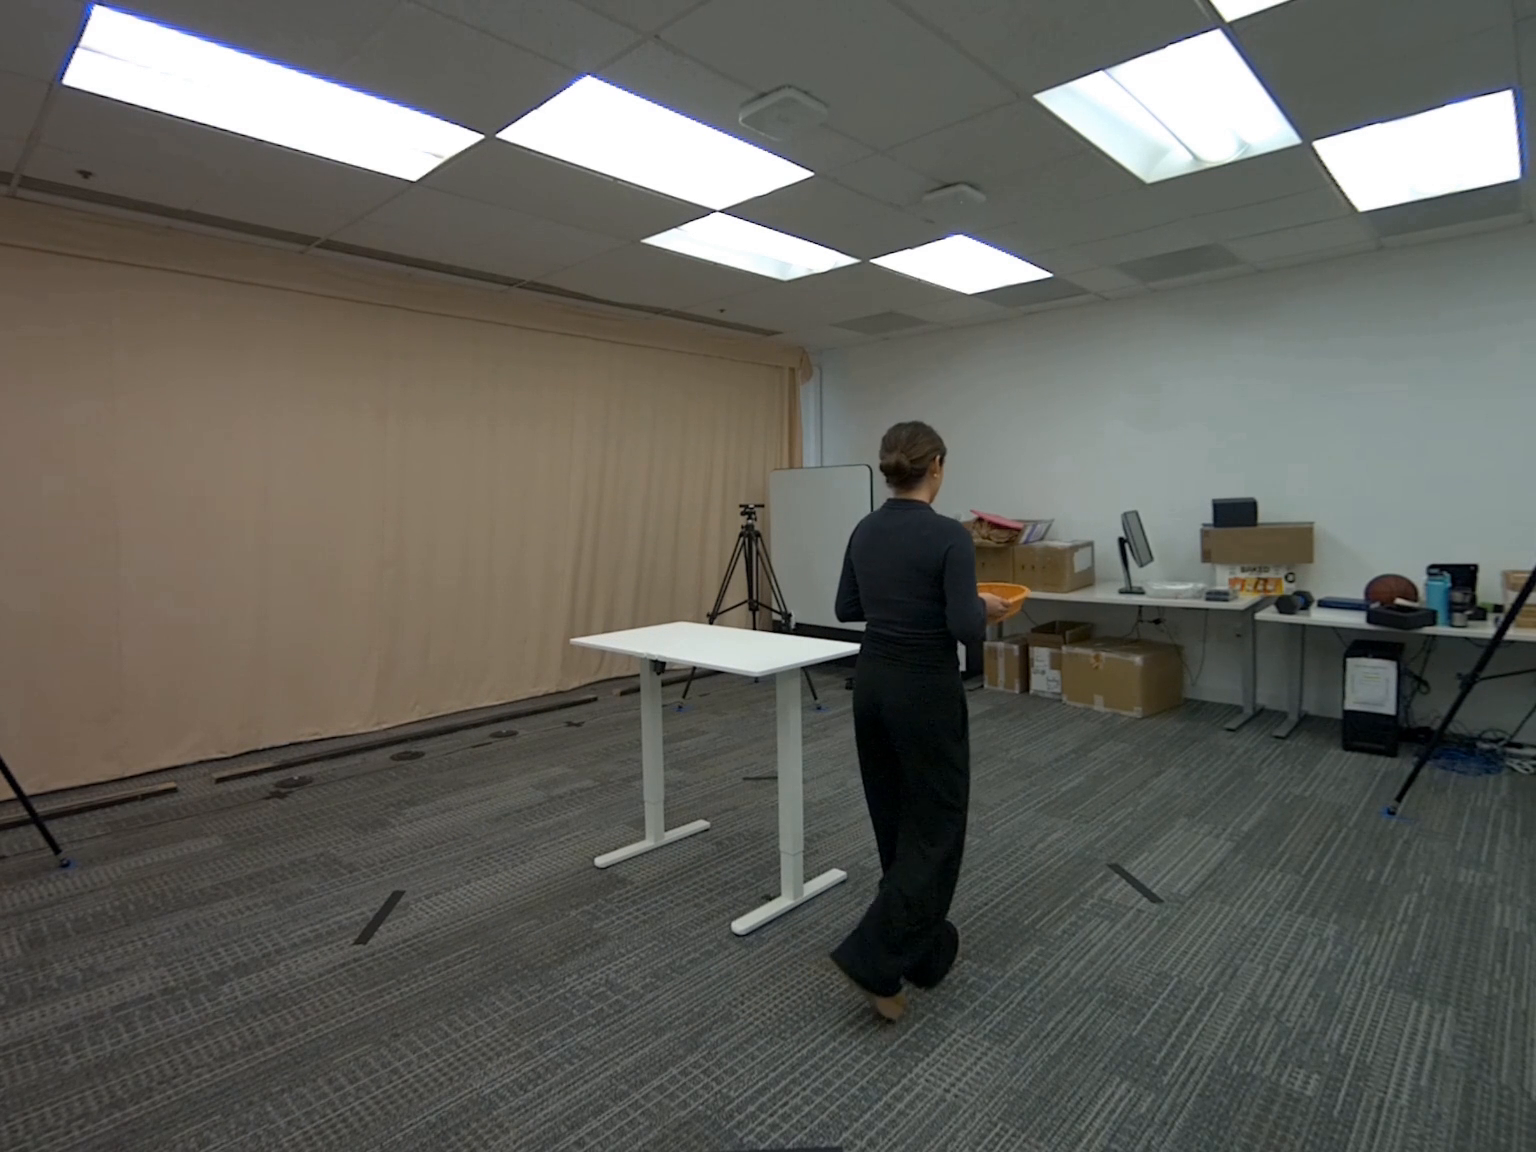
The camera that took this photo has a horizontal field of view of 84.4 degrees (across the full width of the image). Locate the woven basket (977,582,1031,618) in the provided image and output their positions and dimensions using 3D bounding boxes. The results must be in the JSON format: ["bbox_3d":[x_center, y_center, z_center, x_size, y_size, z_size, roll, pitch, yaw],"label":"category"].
[{"bbox_3d":[0.665,0.100,2.567,0.261,0.073,0.341,3,11,41],"label":"woven basket"}]
